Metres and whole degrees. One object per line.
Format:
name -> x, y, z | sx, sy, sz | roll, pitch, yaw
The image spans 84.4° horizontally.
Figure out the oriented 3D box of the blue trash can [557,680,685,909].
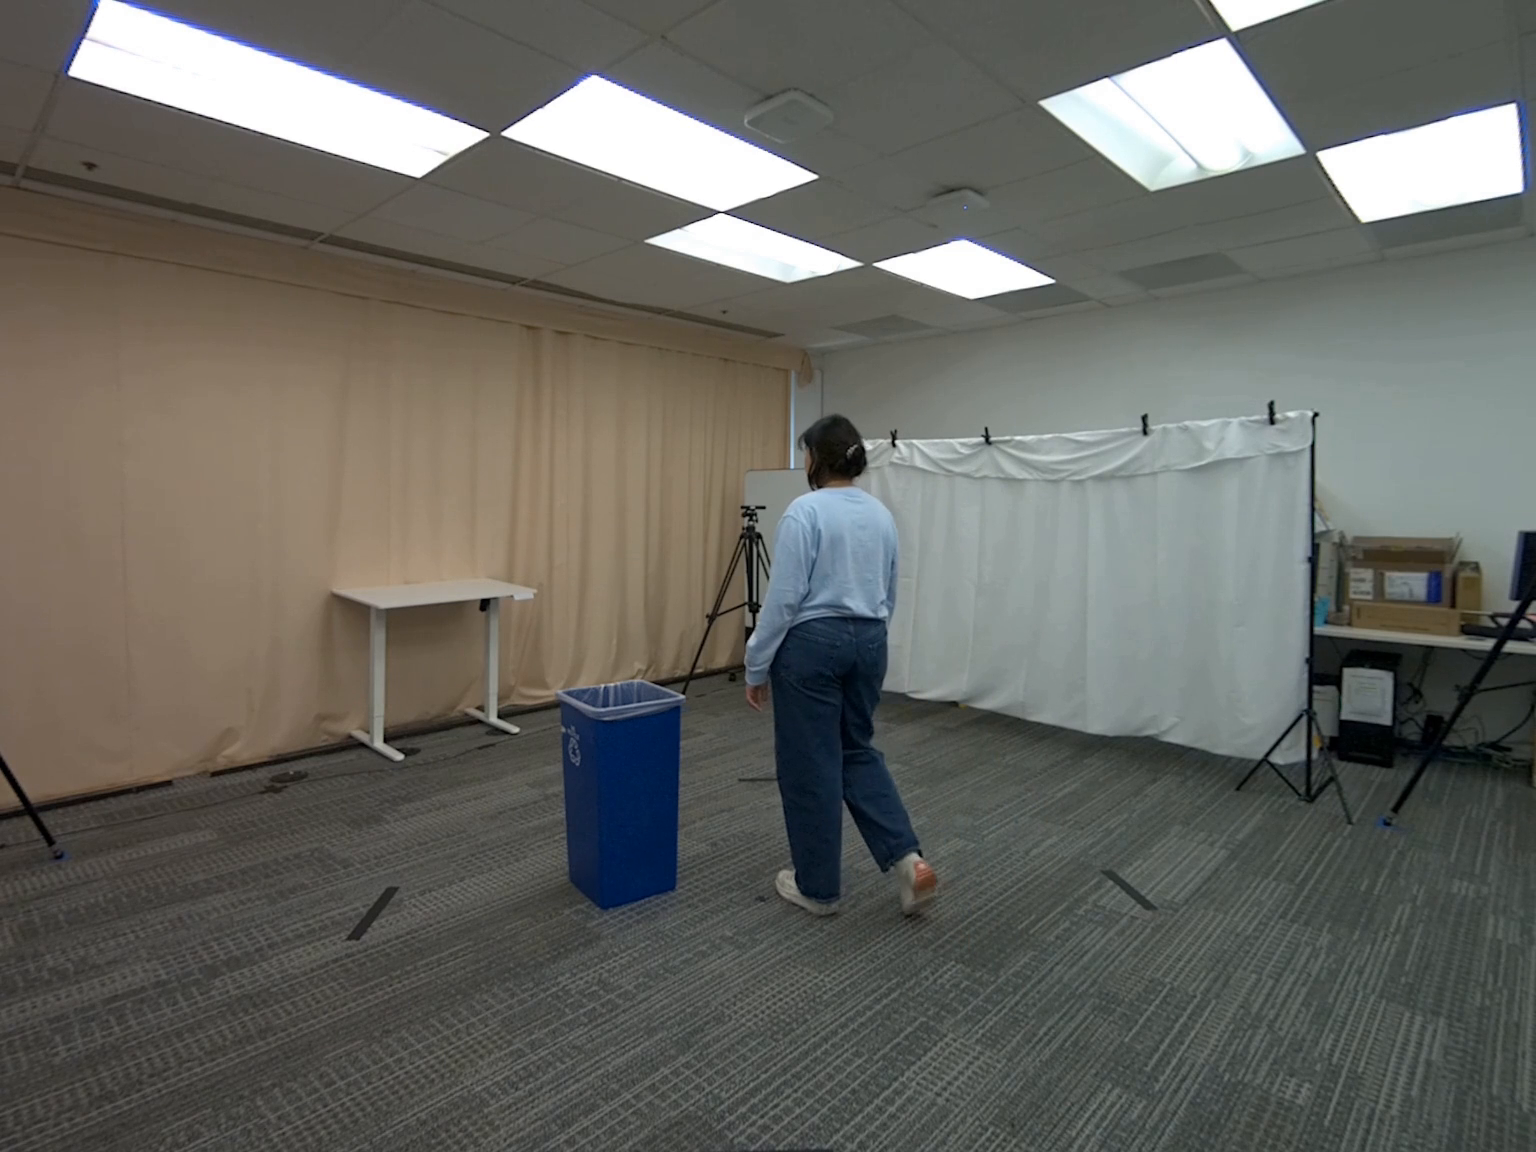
blue trash can -> -0.533, 0.785, 3.086 | 0.367, 0.712, 0.386 | -3, 4, -35
